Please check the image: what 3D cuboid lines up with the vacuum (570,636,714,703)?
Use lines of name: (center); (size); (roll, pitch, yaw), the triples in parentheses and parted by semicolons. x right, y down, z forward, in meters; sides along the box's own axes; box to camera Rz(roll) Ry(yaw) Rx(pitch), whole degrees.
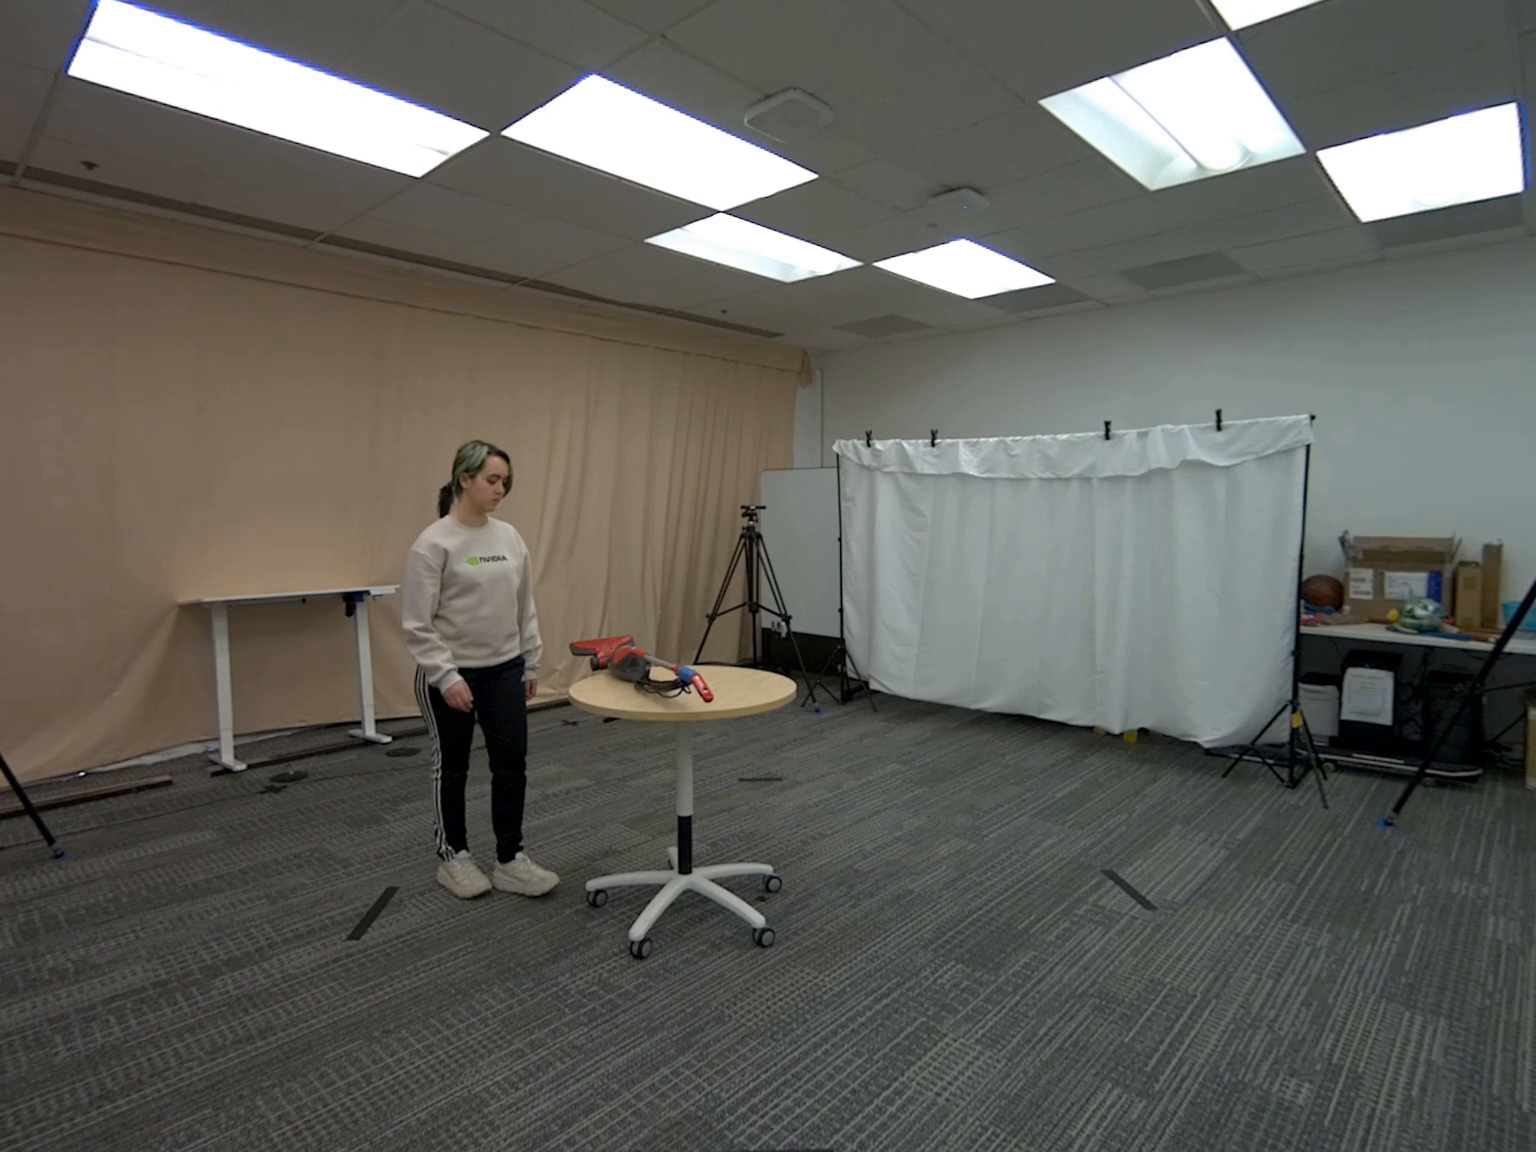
vacuum: (-0.387, 0.331, 2.748); (0.247, 0.143, 1.076); (-8, 5, -27)
